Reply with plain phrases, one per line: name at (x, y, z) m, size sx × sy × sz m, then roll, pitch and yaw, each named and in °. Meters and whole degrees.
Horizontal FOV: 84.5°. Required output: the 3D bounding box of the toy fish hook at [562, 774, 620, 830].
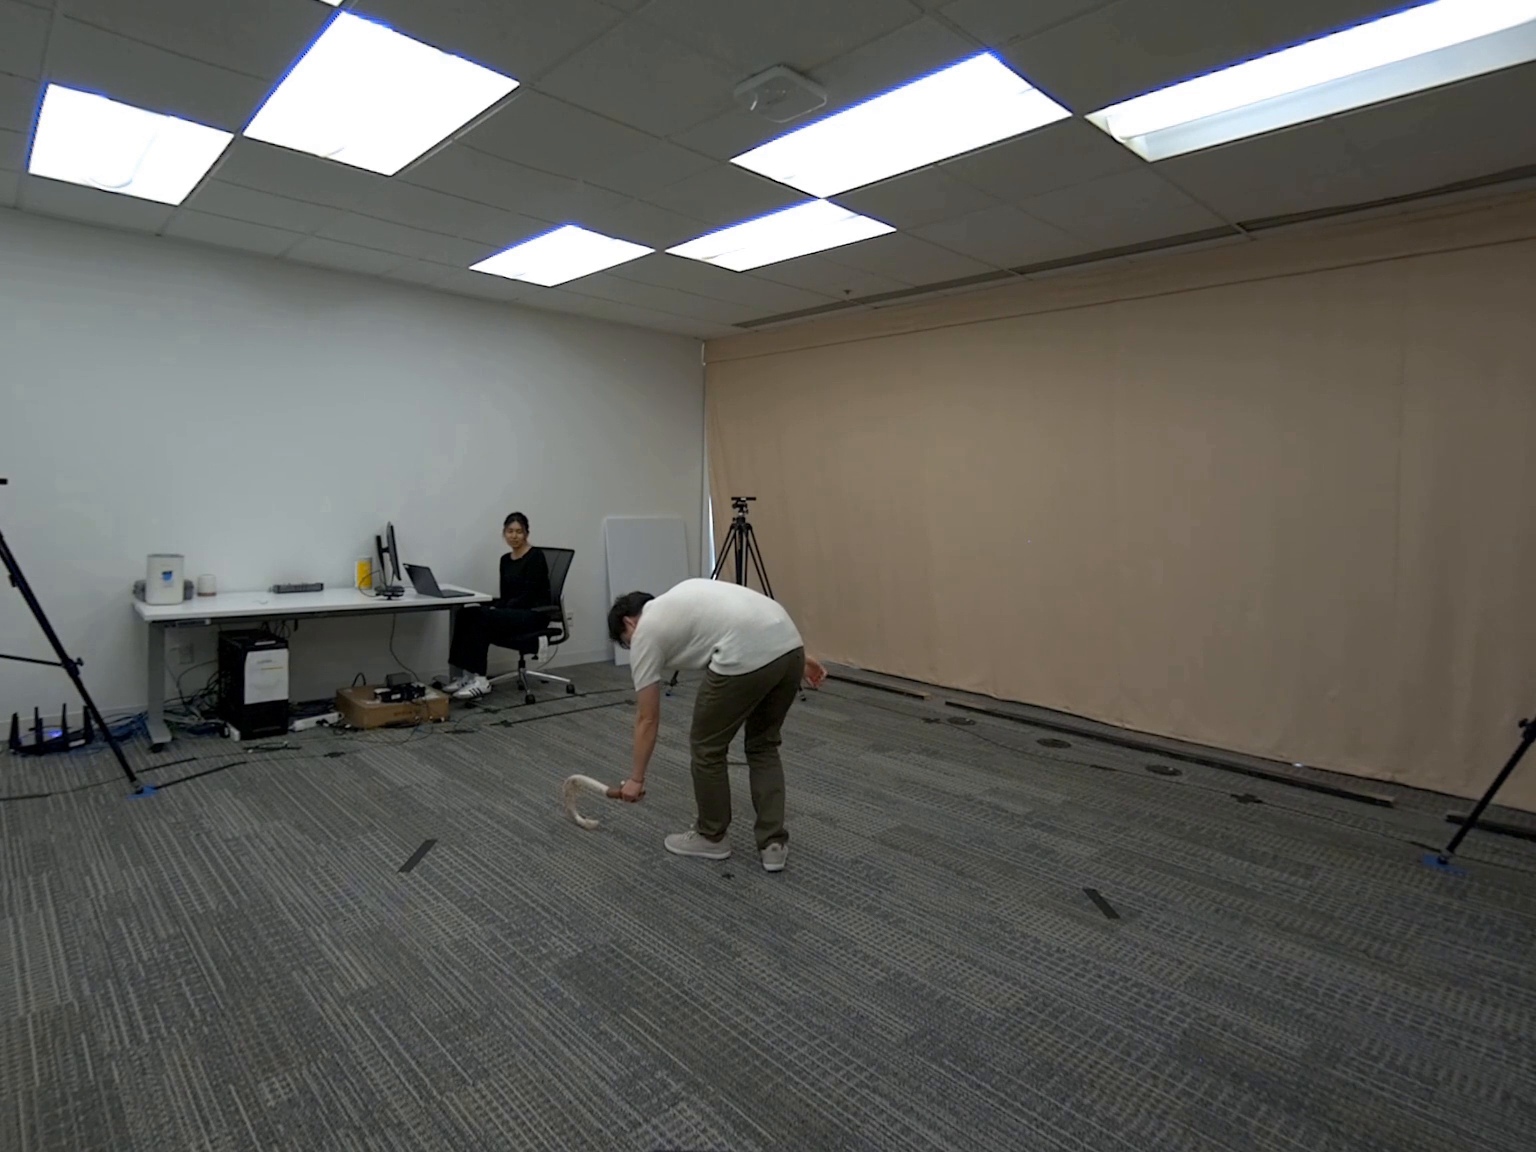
toy fish hook at (-0.673, 0.925, 3.443) m, size 0.516 × 0.224 × 0.047 m, roll -8°, pitch 4°, yaw 40°
